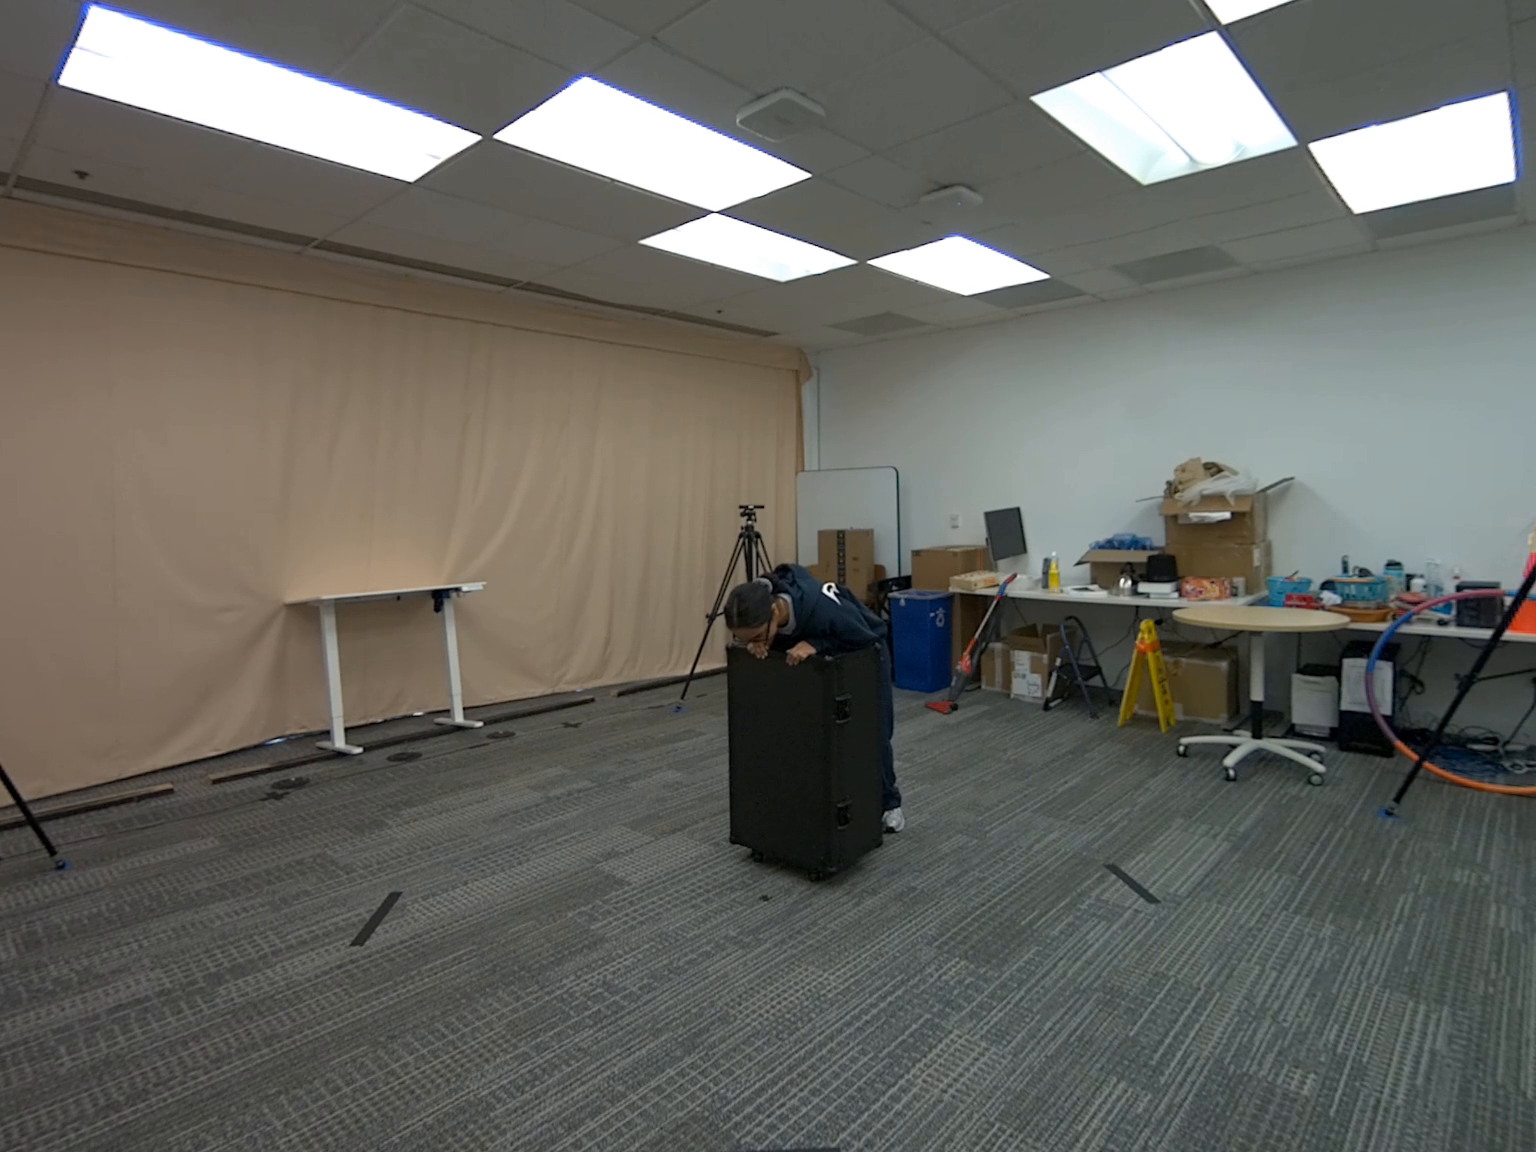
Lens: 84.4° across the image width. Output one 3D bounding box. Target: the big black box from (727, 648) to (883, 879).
[{"bbox_3d":[0.143,0.690,3.267,0.538,0.860,0.384,1,4,40],"label":"big black box"}]
